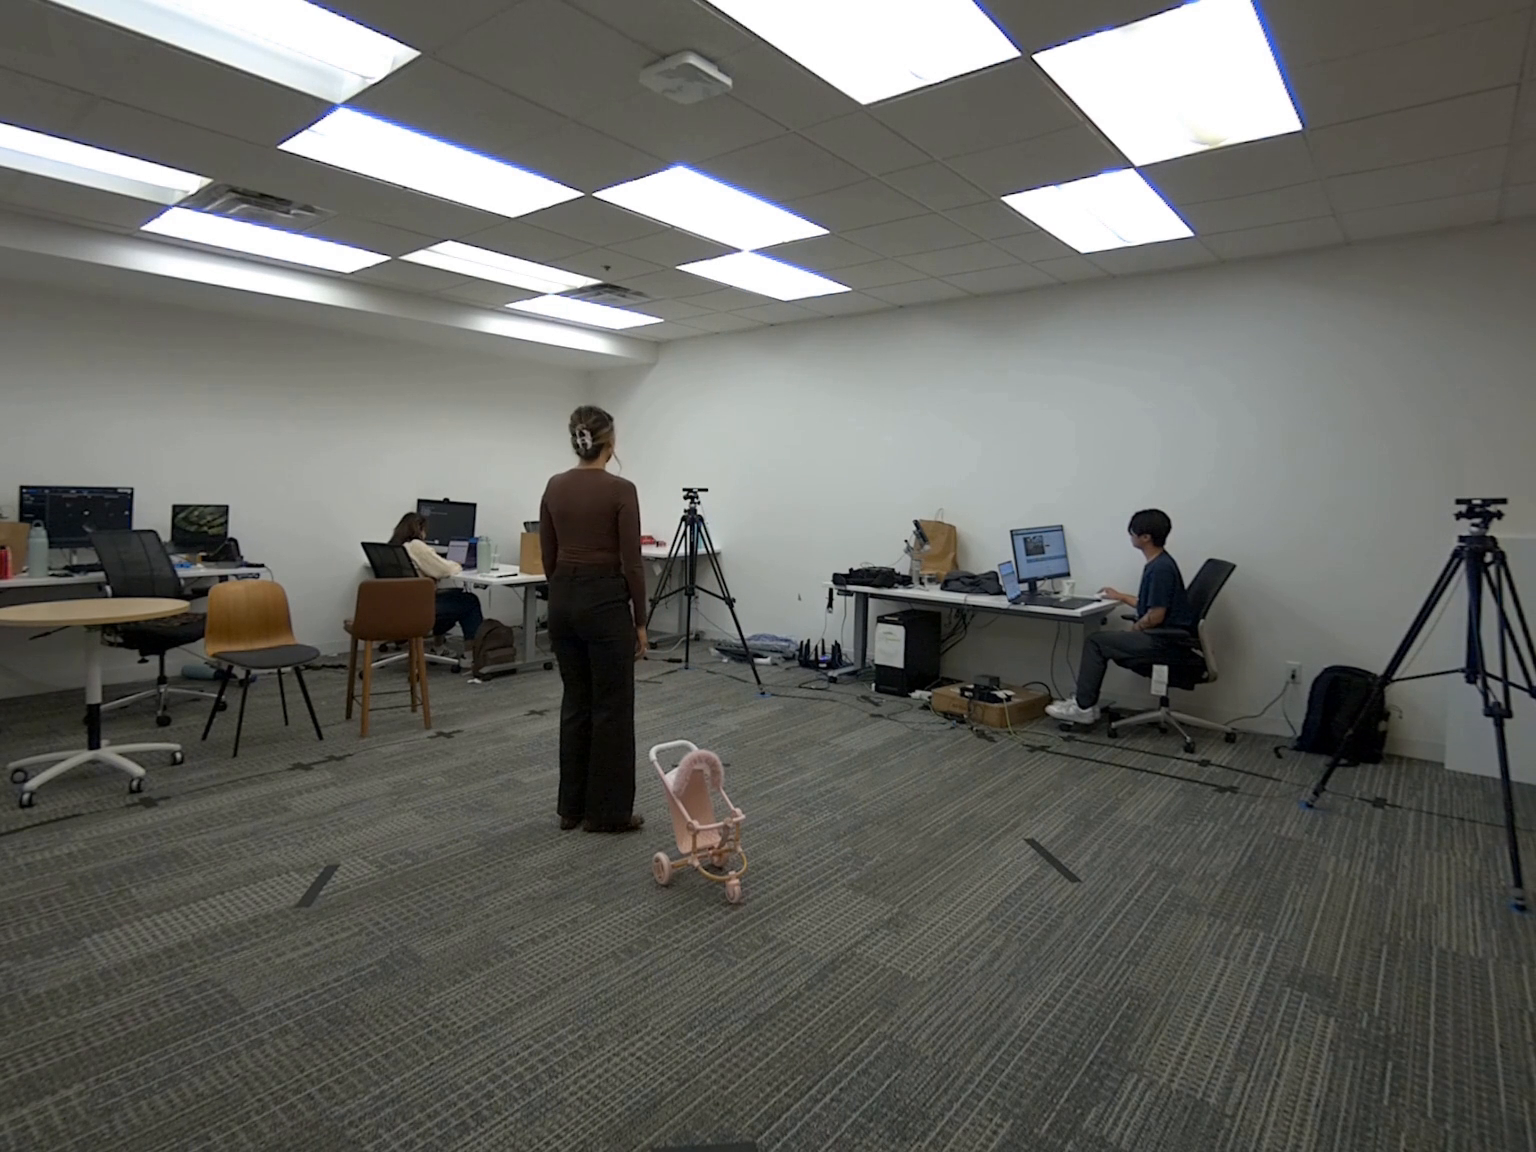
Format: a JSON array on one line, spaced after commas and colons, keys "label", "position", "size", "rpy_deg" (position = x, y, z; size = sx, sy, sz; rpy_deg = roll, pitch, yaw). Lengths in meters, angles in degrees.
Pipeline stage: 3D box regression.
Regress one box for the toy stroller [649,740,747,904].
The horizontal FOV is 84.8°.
[{"label": "toy stroller", "position": [-0.243, 0.851, 2.998], "size": [0.273, 0.541, 0.348], "rpy_deg": [-1, -11, -35]}]
